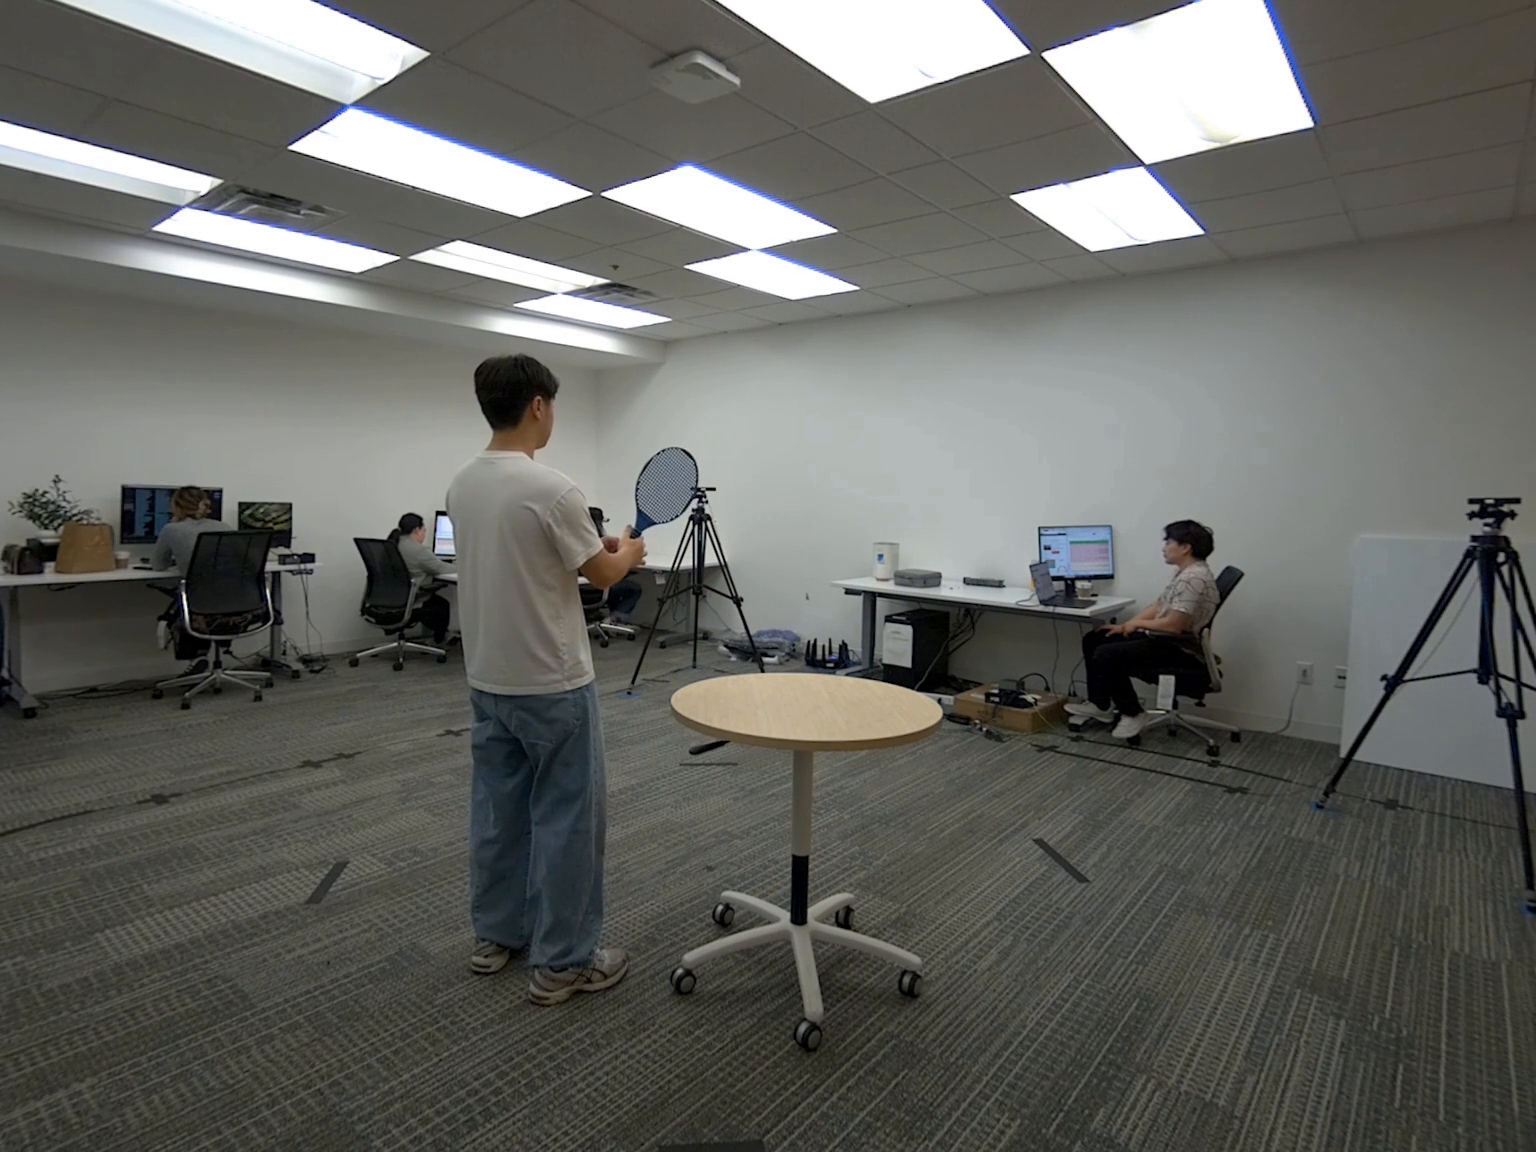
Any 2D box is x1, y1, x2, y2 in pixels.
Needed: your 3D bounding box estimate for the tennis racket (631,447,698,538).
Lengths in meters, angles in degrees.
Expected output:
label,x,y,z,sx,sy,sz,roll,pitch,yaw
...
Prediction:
label,x,y,z,sx,sy,sz,roll,pitch,yaw
tennis racket,-0.374,-0.223,2.733,0.206,0.435,0.033,38,-17,-30
